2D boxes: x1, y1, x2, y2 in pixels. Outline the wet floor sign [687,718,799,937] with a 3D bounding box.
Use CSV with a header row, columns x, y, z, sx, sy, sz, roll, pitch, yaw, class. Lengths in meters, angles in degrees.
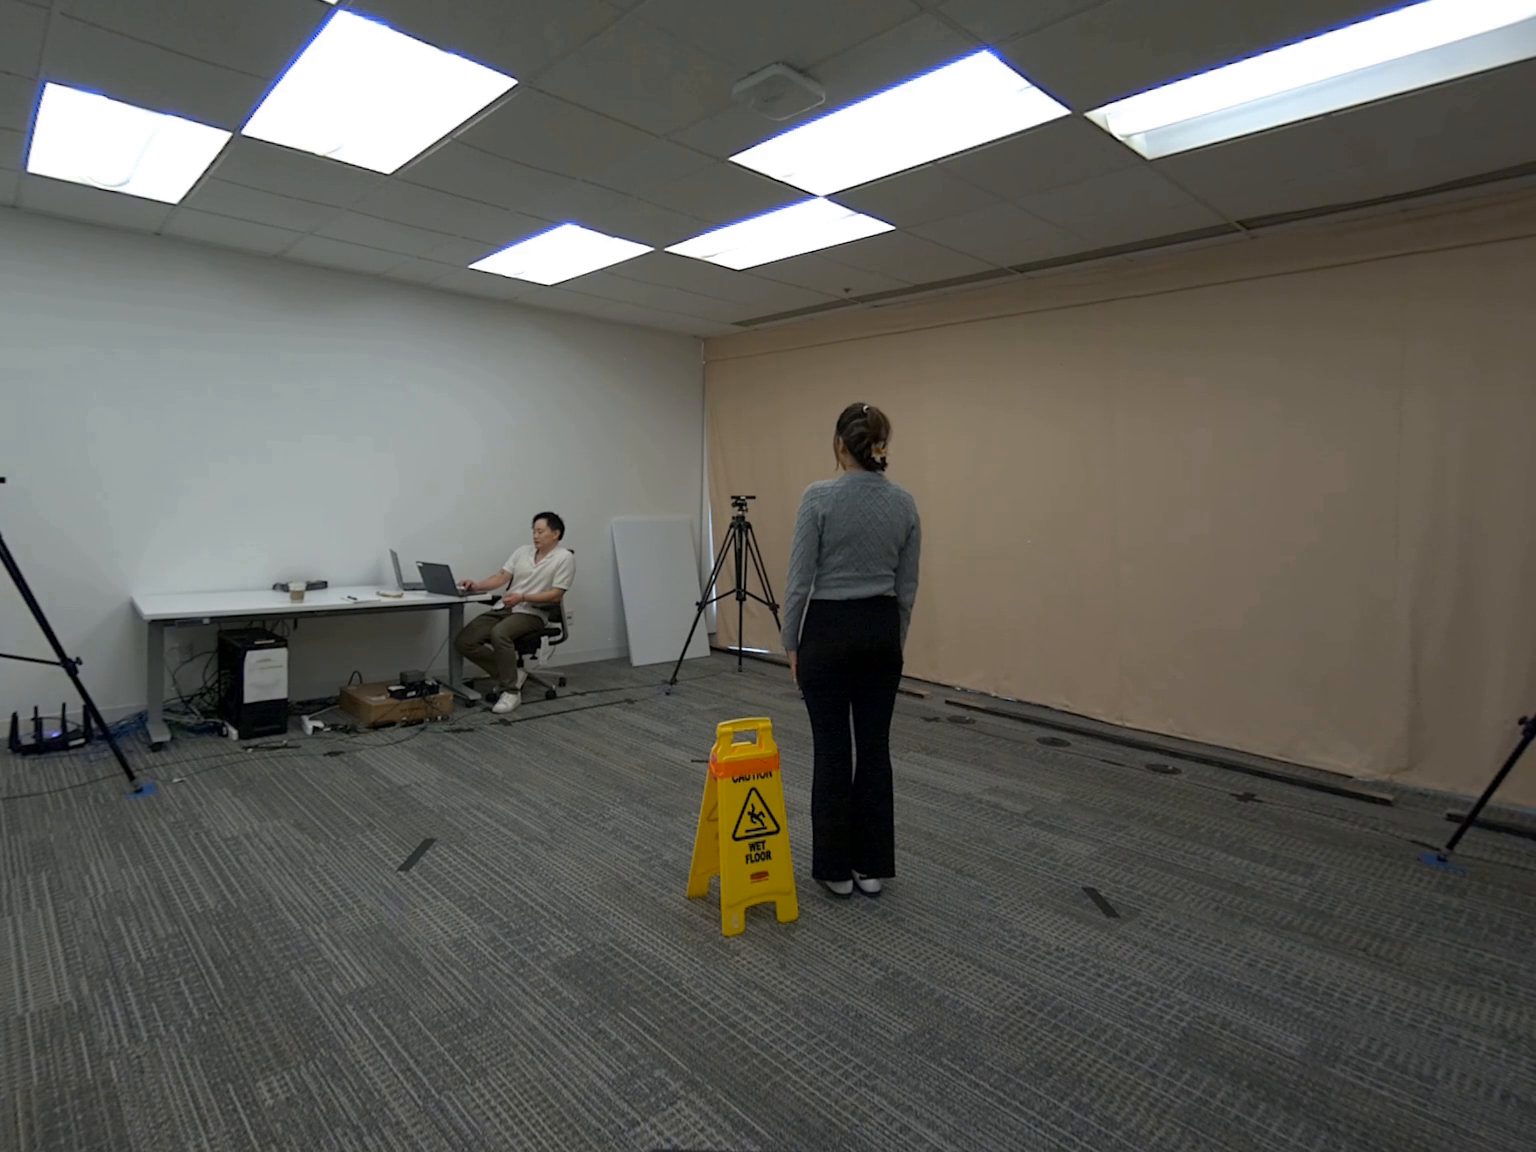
x,y,z,sx,sy,sz,roll,pitch,yaw,class
-0.092,0.805,2.832,0.277,0.645,0.296,0,3,-29,wet floor sign
